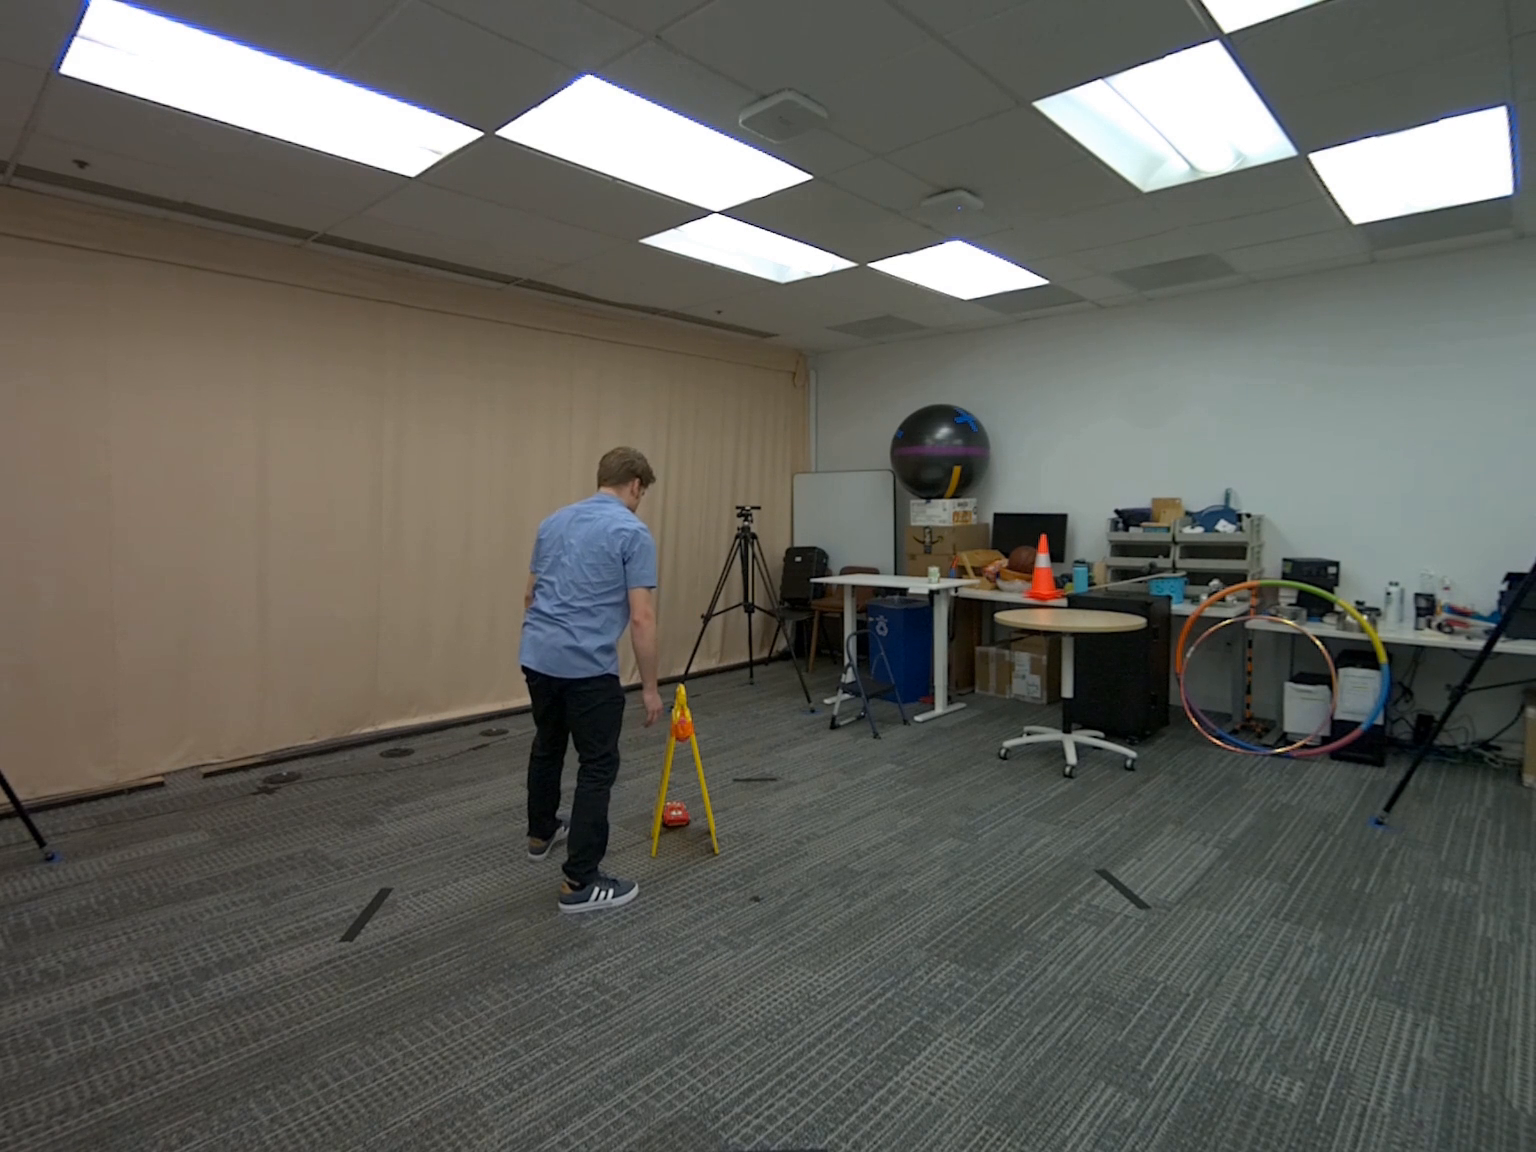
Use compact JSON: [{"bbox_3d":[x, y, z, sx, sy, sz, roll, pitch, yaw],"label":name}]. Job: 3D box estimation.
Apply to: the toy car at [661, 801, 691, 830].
[{"bbox_3d":[-0.413,1.055,3.731,0.129,0.083,0.256,1,-6,-12],"label":"toy car"}]
